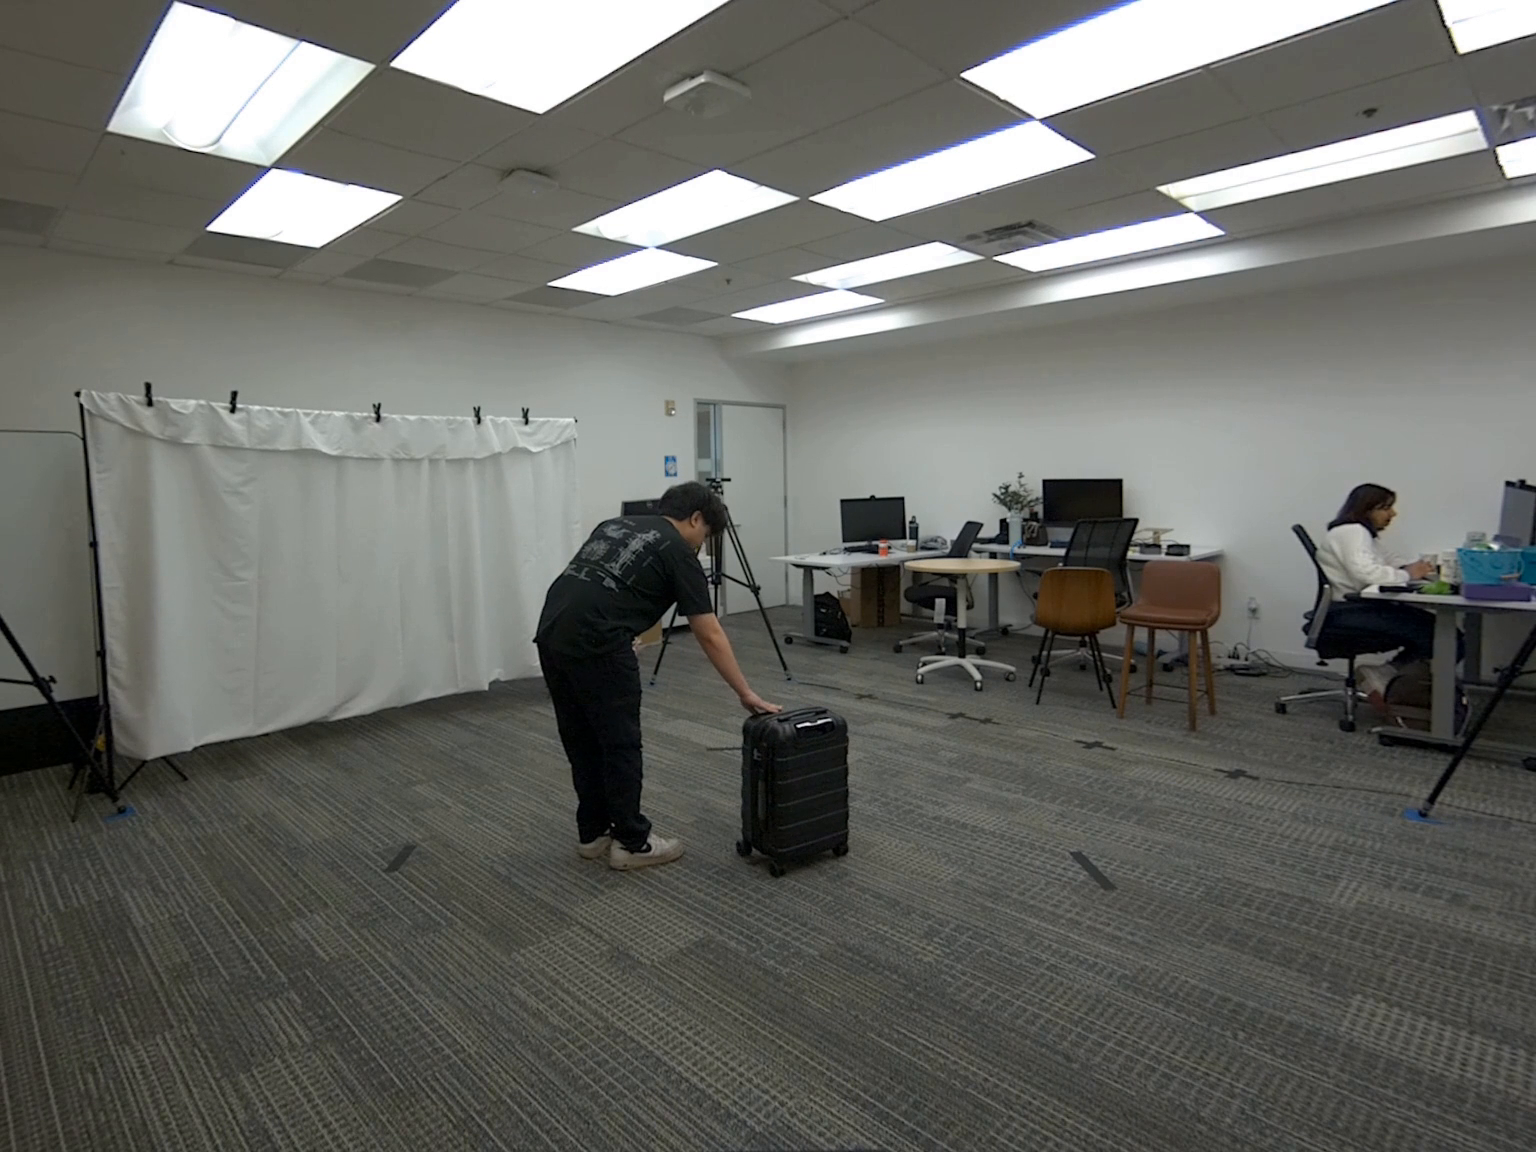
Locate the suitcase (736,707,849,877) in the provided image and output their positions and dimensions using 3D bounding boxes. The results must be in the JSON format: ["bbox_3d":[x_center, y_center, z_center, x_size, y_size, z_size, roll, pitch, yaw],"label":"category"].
[{"bbox_3d":[0.093,0.756,3.131,0.366,0.547,0.256,-4,6,-35],"label":"suitcase"}]
